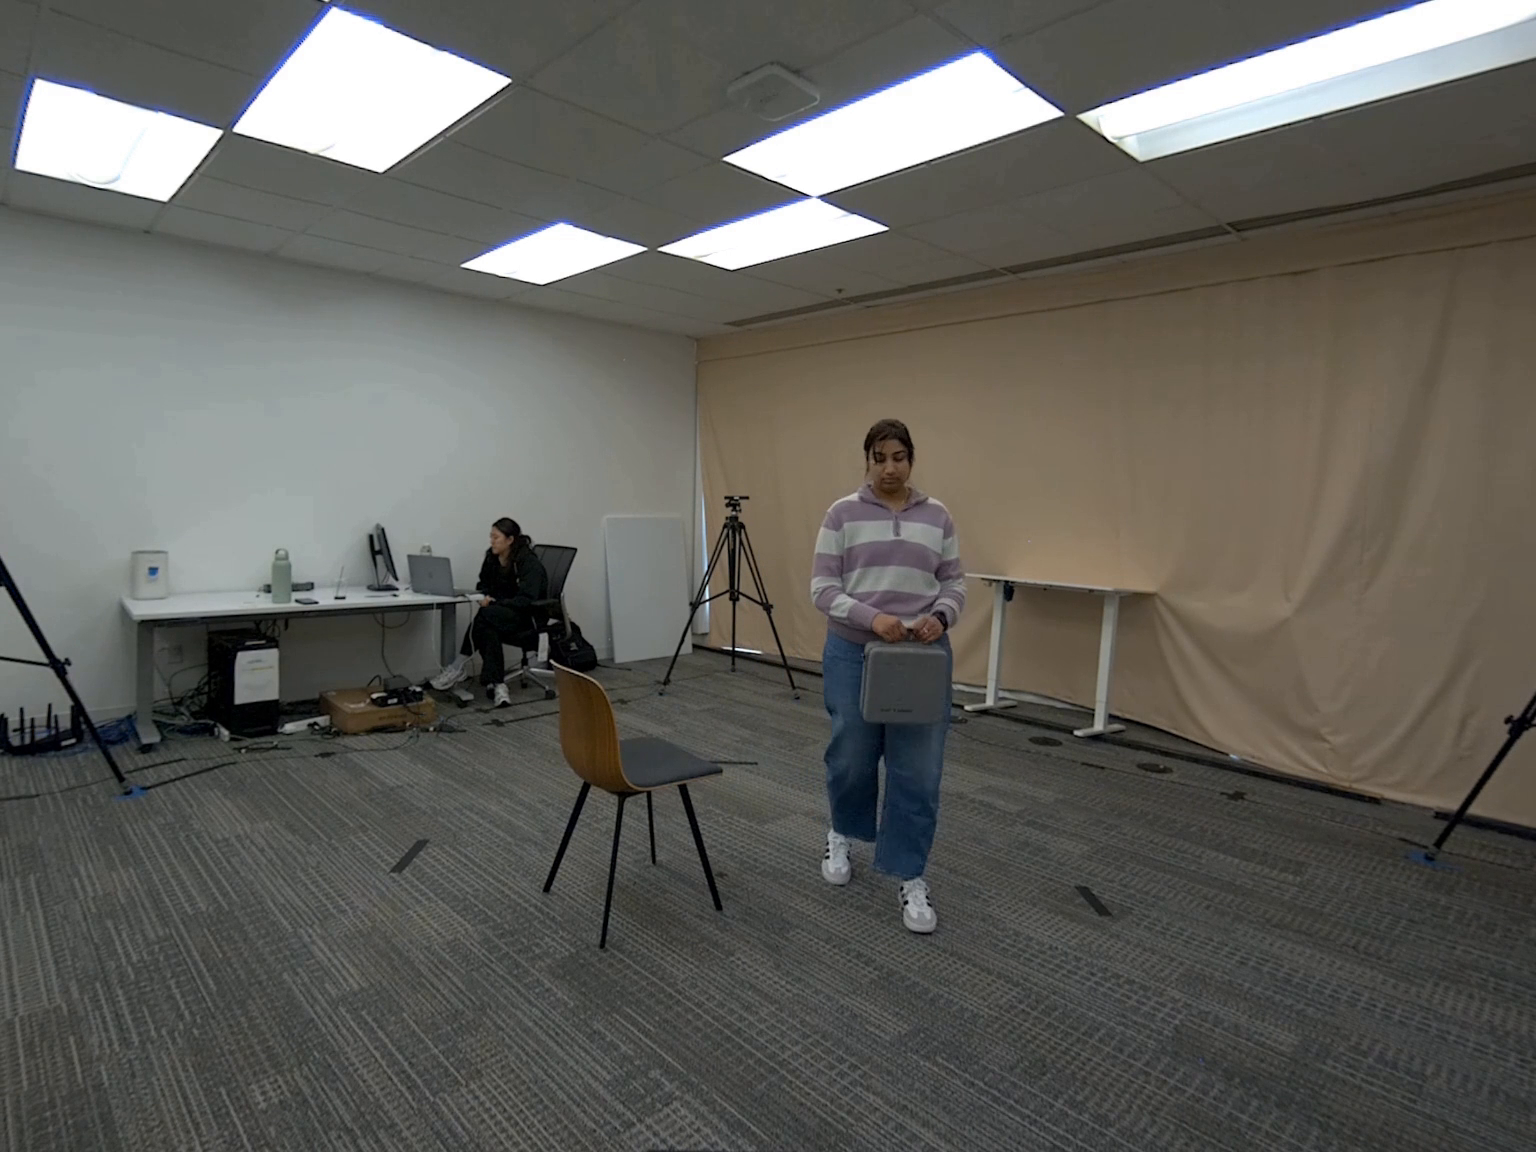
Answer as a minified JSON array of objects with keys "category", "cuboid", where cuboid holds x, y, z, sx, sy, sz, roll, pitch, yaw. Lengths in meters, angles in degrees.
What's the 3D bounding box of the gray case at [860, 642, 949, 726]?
[{"category":"gray case","cuboid":[0.415,0.331,2.661,0.256,0.258,0.105,4,12,-3]}]
